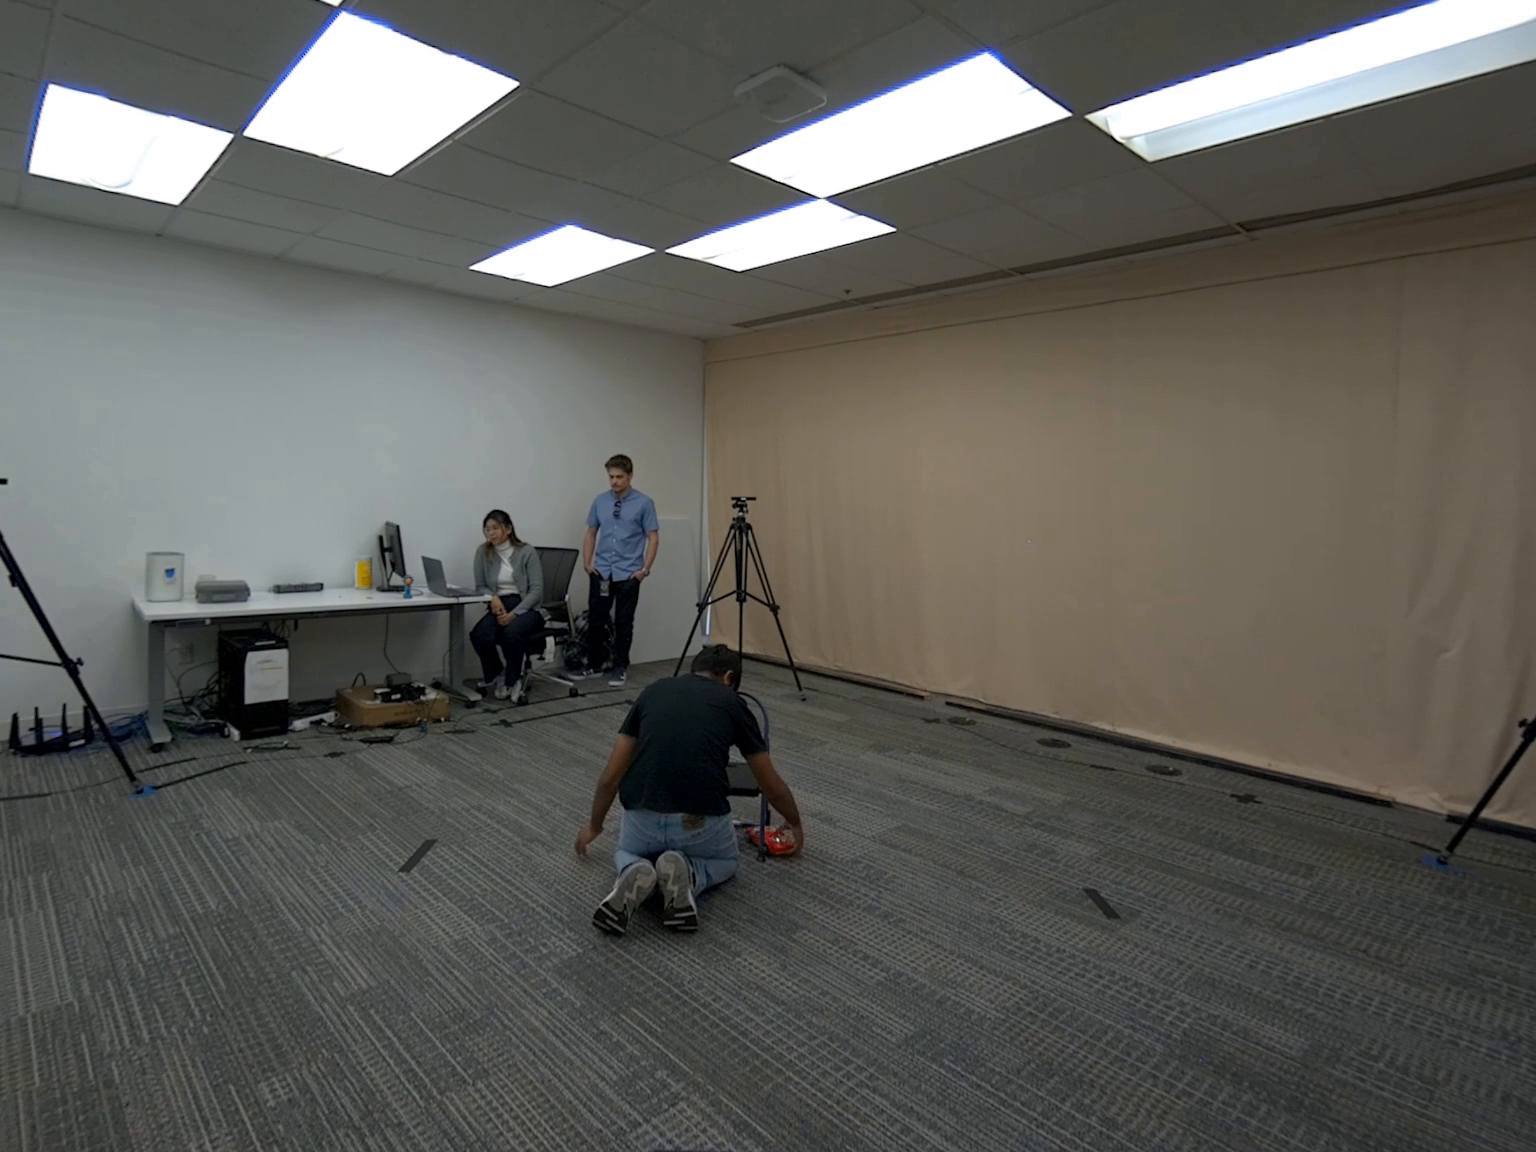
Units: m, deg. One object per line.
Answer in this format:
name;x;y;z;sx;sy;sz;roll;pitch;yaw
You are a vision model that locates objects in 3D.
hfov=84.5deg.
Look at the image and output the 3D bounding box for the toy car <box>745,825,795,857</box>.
toy car;0.008;1.060;3.356;0.127;0.083;0.258;1;-5;-30
